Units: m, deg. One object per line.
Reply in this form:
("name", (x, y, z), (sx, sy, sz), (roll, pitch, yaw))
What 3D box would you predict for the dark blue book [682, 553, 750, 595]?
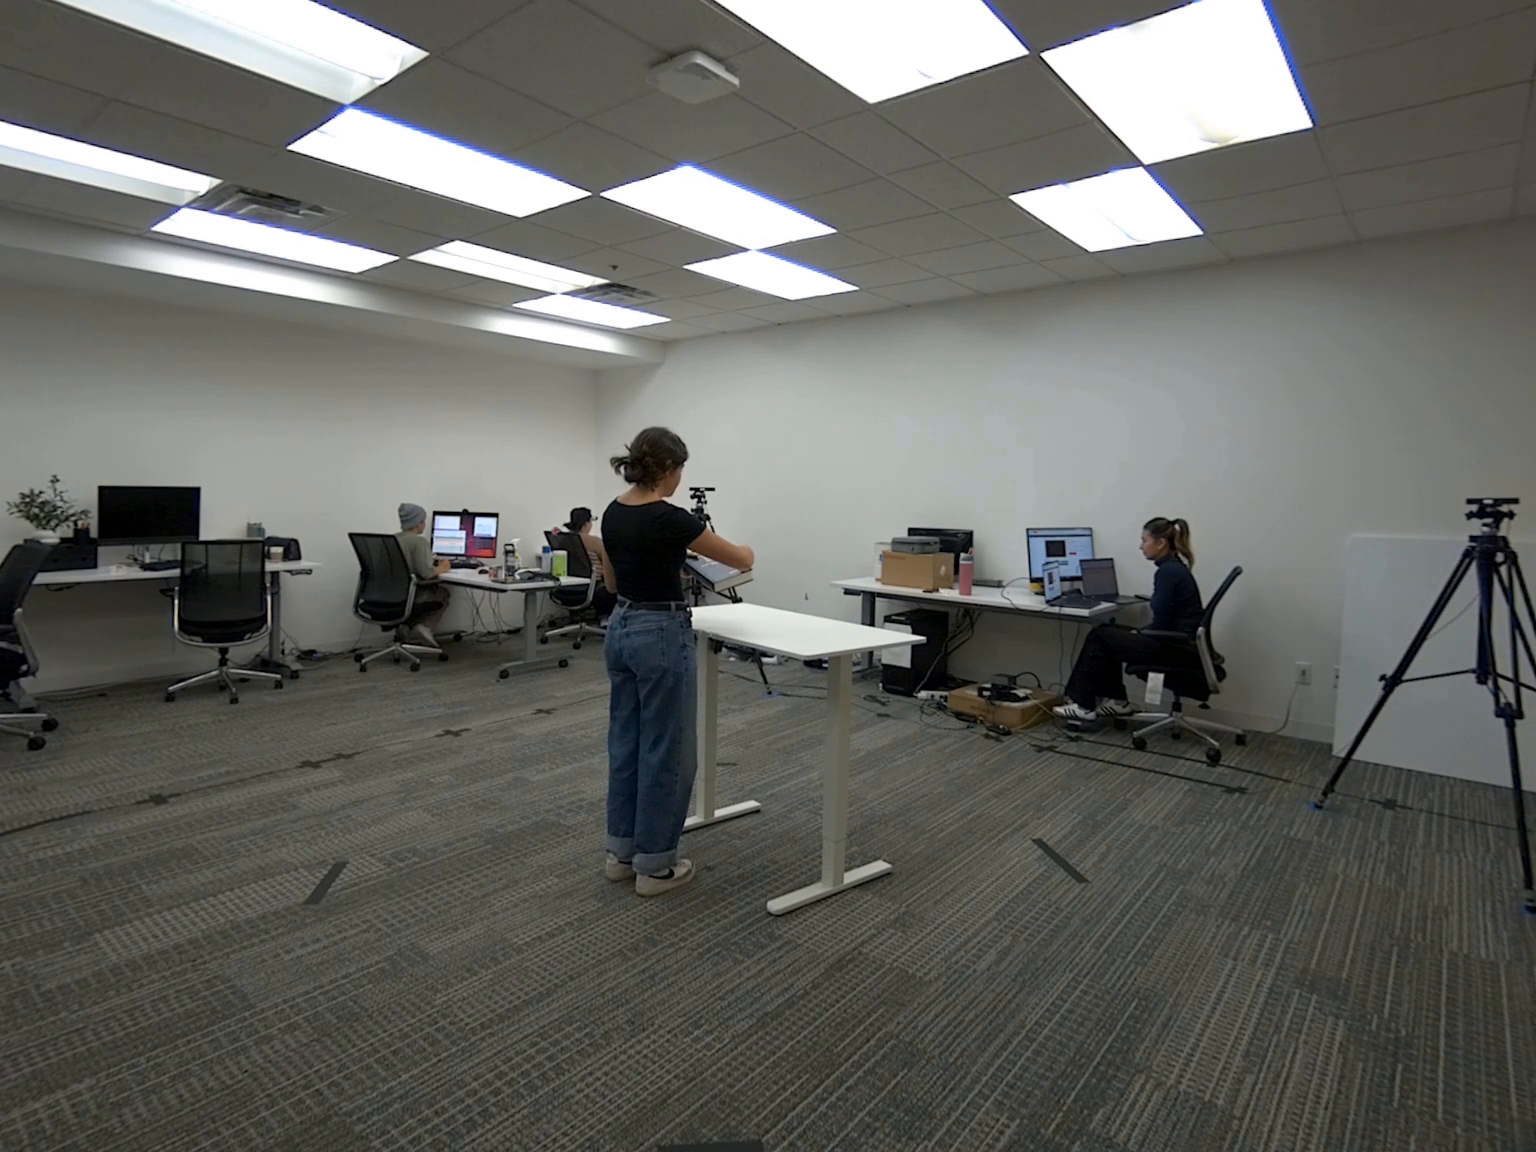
("dark blue book", (-0.205, -0.026, 3.078), (0.161, 0.044, 0.255), (-19, 31, -24))
